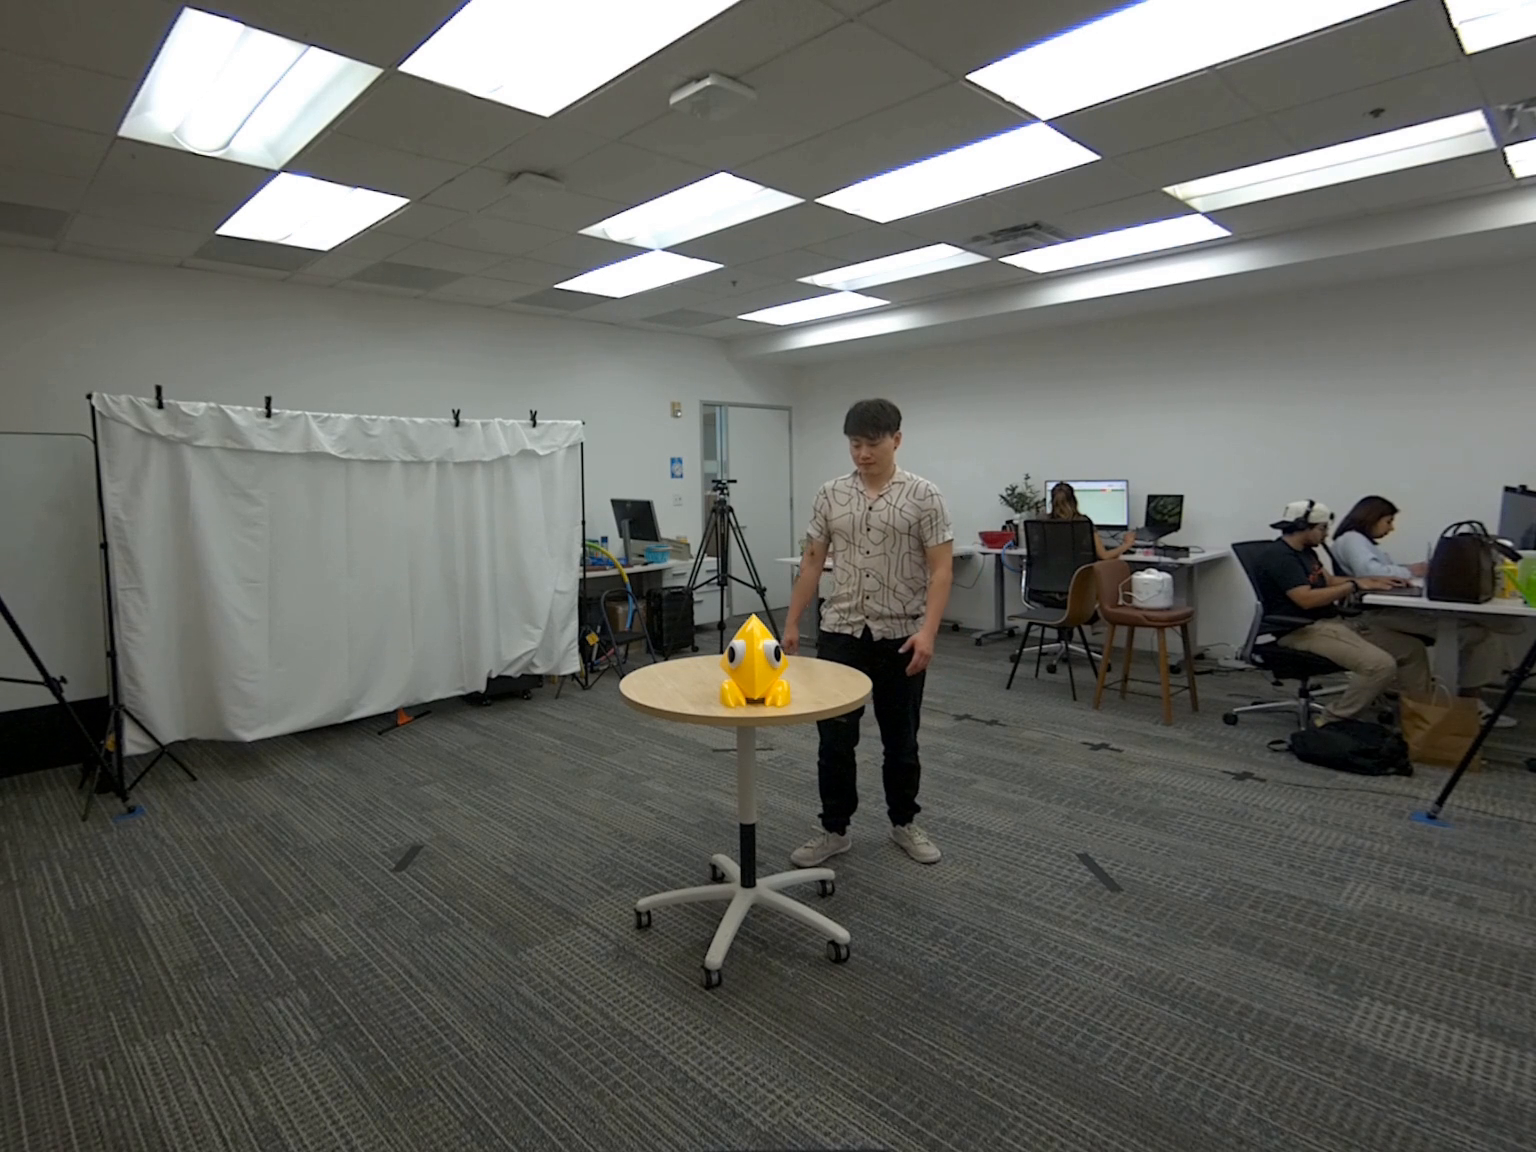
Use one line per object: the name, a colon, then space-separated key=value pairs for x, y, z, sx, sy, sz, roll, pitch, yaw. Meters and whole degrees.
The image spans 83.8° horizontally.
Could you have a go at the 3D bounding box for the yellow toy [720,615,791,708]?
yellow toy: x=-0.032 y=0.229 z=2.395 sx=0.205 sy=0.230 sz=0.193 roll=-1 pitch=2 yaw=-1
